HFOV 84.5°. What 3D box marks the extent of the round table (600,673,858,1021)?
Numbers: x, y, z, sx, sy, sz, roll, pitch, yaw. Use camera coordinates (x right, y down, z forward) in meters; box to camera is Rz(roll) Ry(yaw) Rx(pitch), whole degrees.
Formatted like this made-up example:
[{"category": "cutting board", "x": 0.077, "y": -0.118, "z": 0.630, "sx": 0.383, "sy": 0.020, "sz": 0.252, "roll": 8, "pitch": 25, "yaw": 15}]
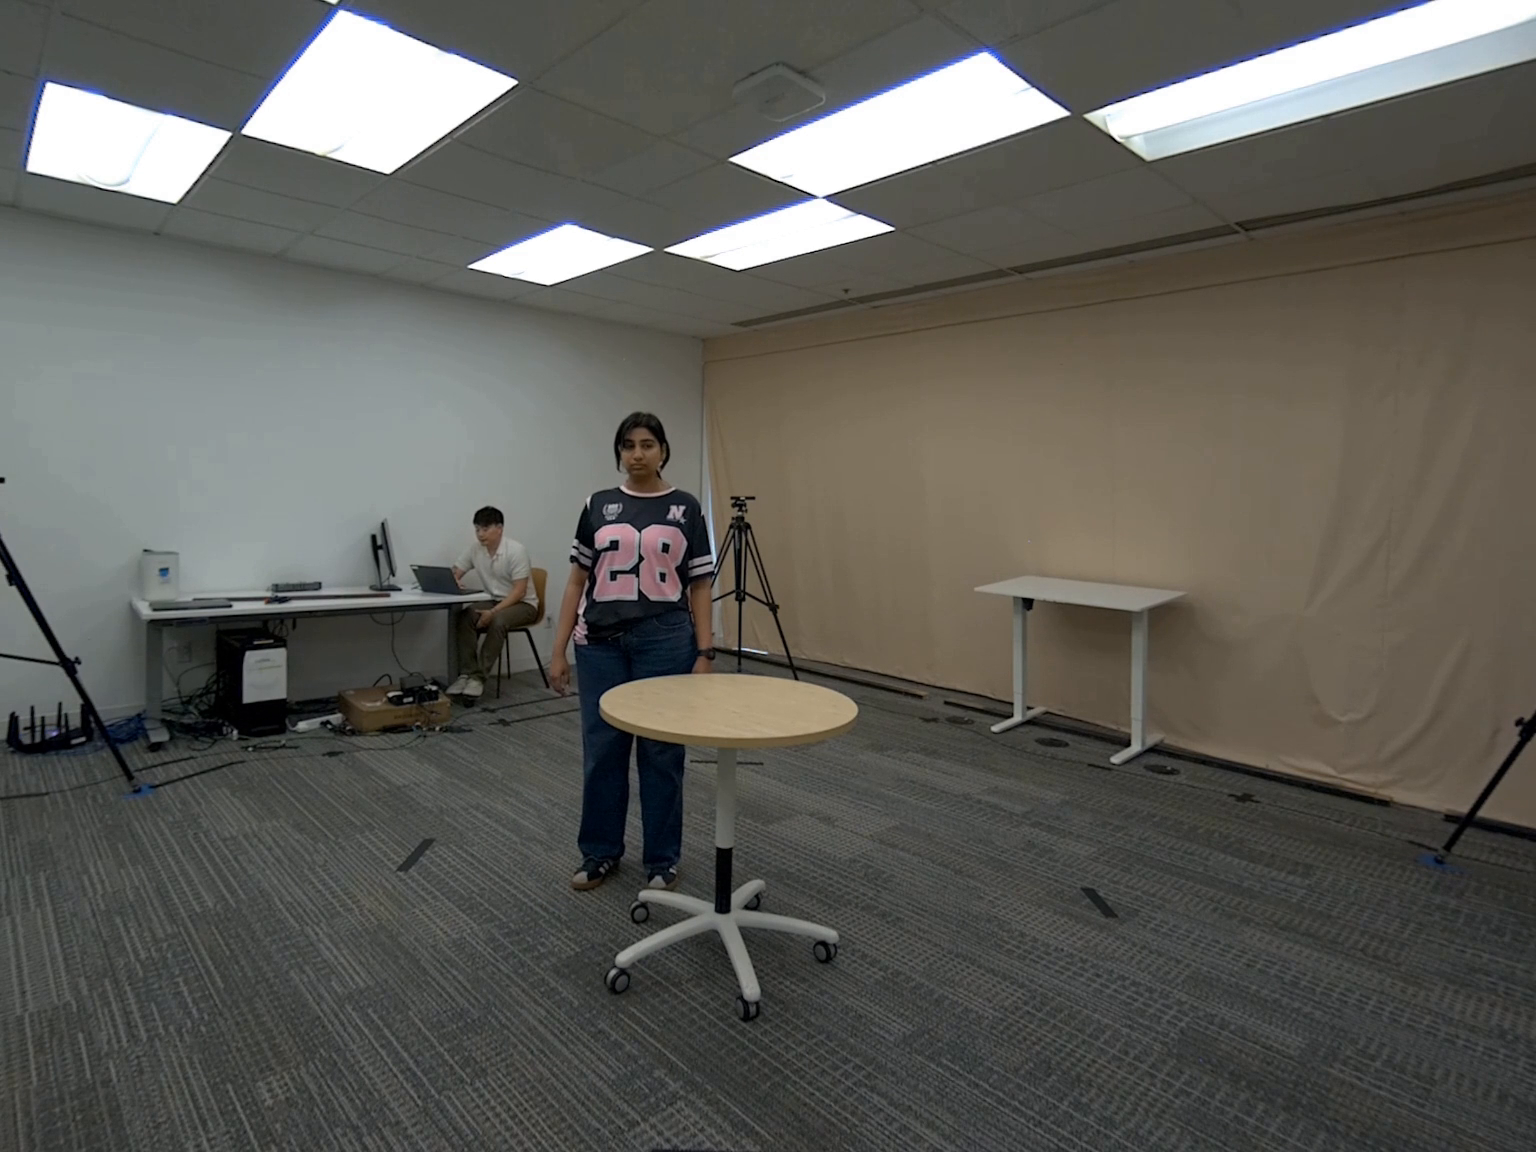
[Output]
[{"category": "round table", "x": -0.137, "y": 0.770, "z": 2.533, "sx": 0.763, "sy": 0.792, "sz": 0.767, "roll": 2, "pitch": 4, "yaw": -1}]
